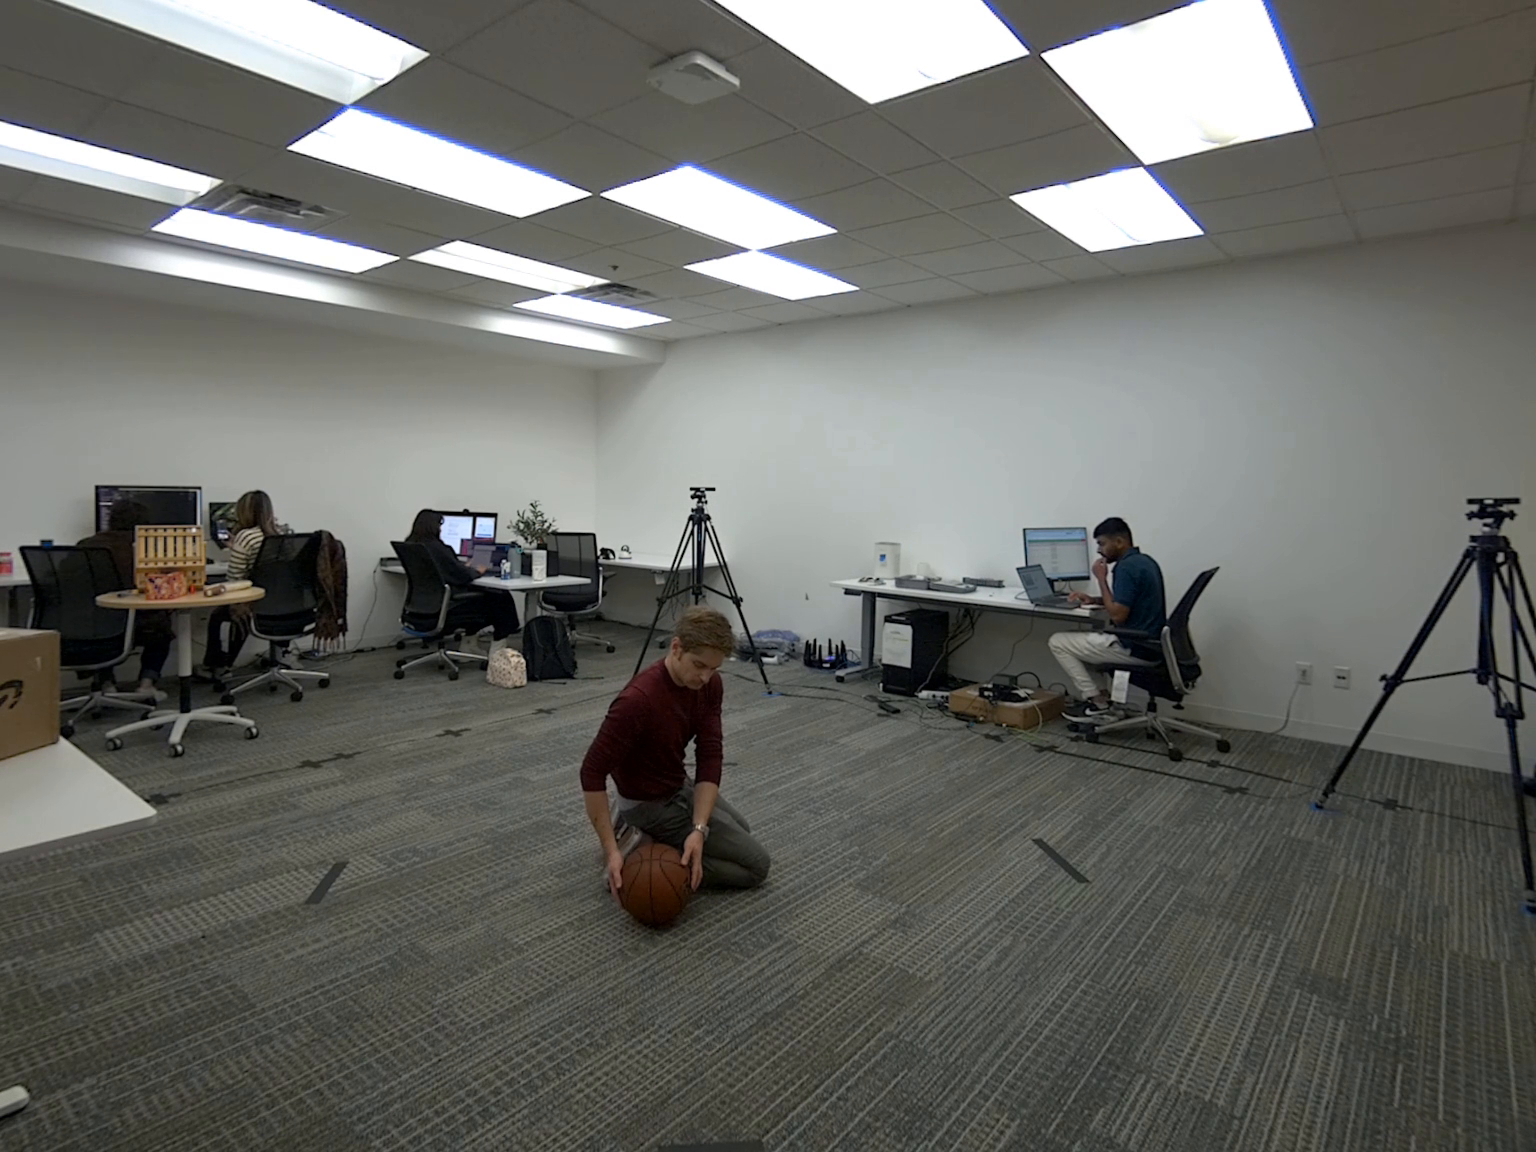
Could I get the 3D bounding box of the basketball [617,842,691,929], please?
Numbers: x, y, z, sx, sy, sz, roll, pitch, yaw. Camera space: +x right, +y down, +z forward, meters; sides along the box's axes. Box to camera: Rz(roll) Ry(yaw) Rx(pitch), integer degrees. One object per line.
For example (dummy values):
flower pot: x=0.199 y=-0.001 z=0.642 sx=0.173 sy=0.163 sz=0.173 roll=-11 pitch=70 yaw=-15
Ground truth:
basketball: x=-0.359 y=0.974 z=2.726 sx=0.235 sy=0.235 sz=0.237 roll=1 pitch=4 yaw=-2
